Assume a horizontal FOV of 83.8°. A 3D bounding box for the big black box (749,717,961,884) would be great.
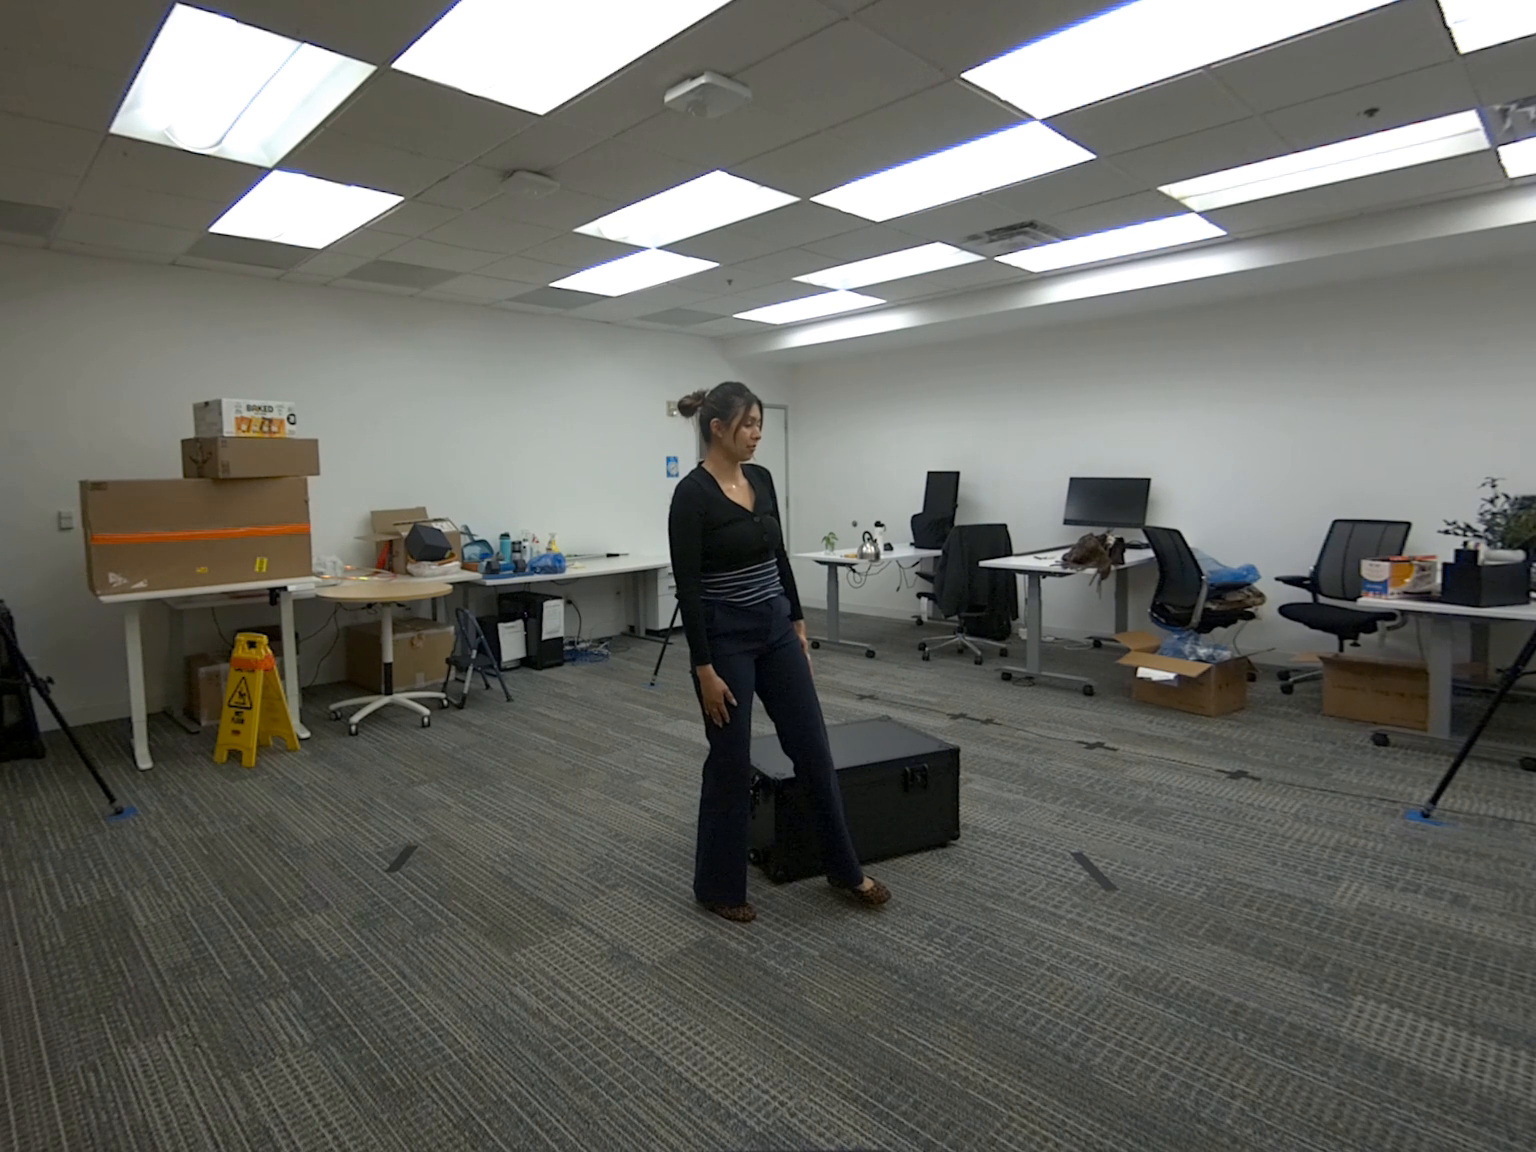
[{"bbox_3d":[0.296,0.827,3.291,0.844,0.394,0.534,-4,7,-25],"label":"big black box"}]
